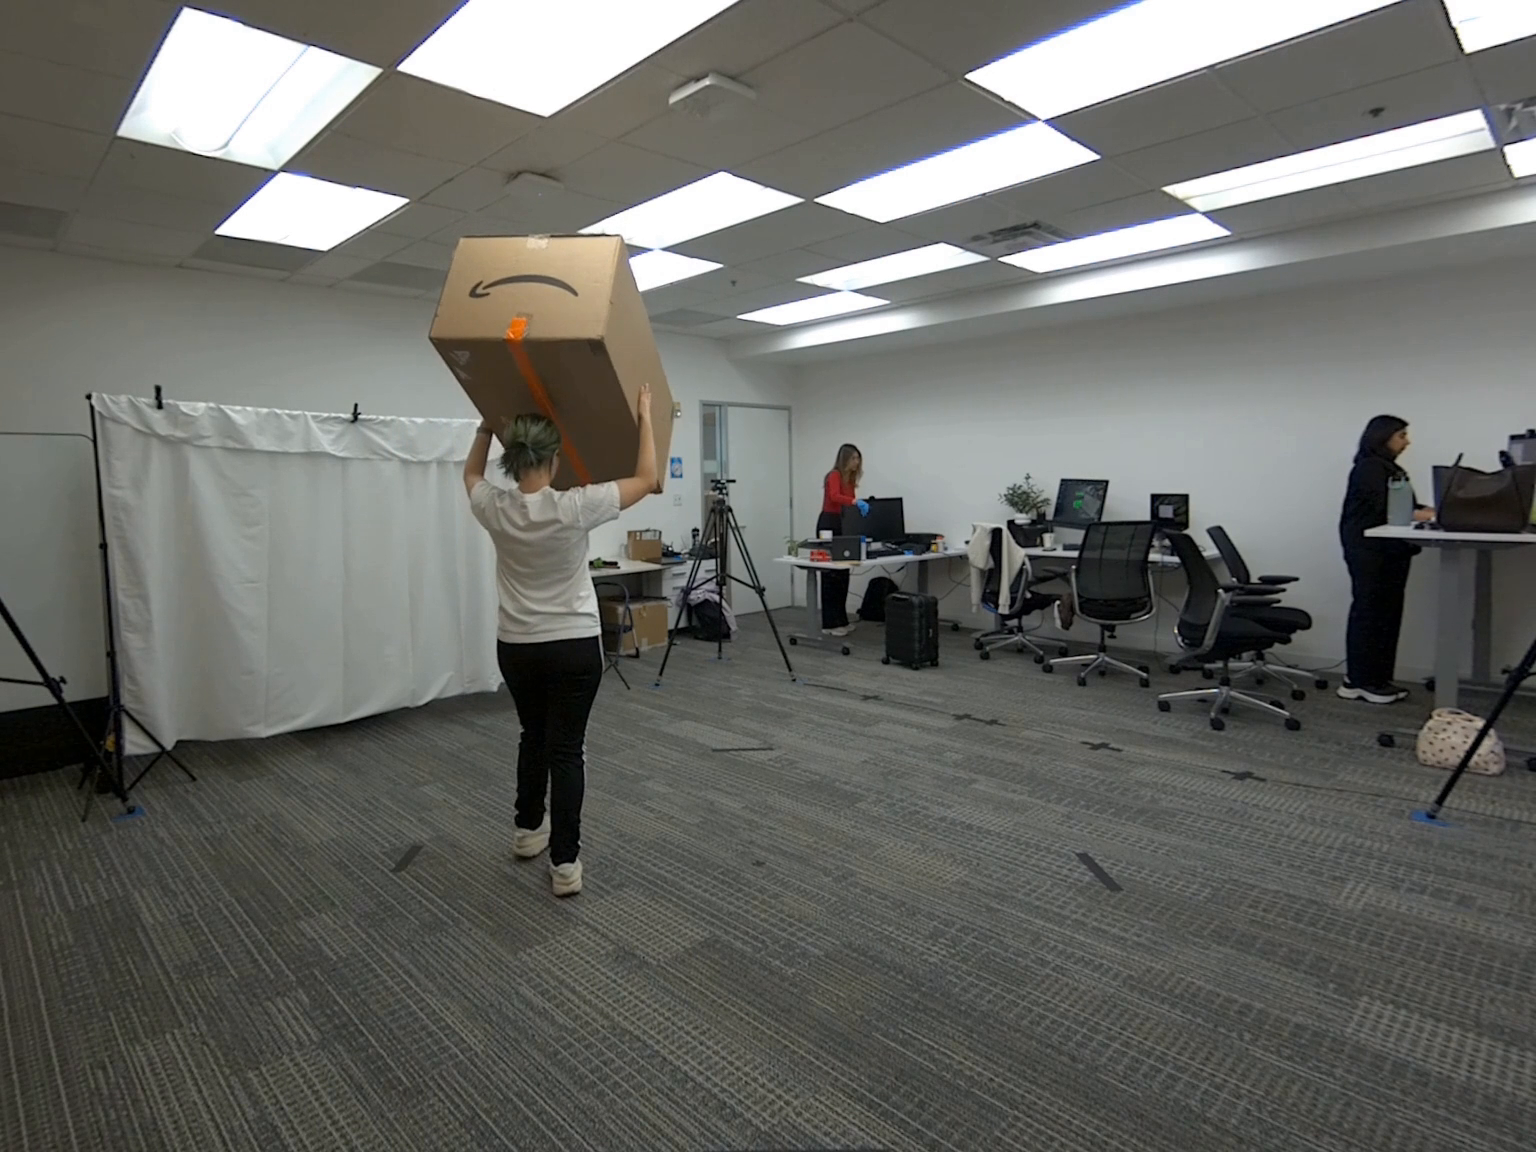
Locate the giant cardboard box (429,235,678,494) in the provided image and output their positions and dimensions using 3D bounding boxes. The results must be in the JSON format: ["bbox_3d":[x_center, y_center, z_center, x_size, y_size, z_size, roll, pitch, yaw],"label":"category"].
[{"bbox_3d":[-0.734,-0.732,3.191,0.589,0.455,1.000,2,-23,7],"label":"giant cardboard box"}]
